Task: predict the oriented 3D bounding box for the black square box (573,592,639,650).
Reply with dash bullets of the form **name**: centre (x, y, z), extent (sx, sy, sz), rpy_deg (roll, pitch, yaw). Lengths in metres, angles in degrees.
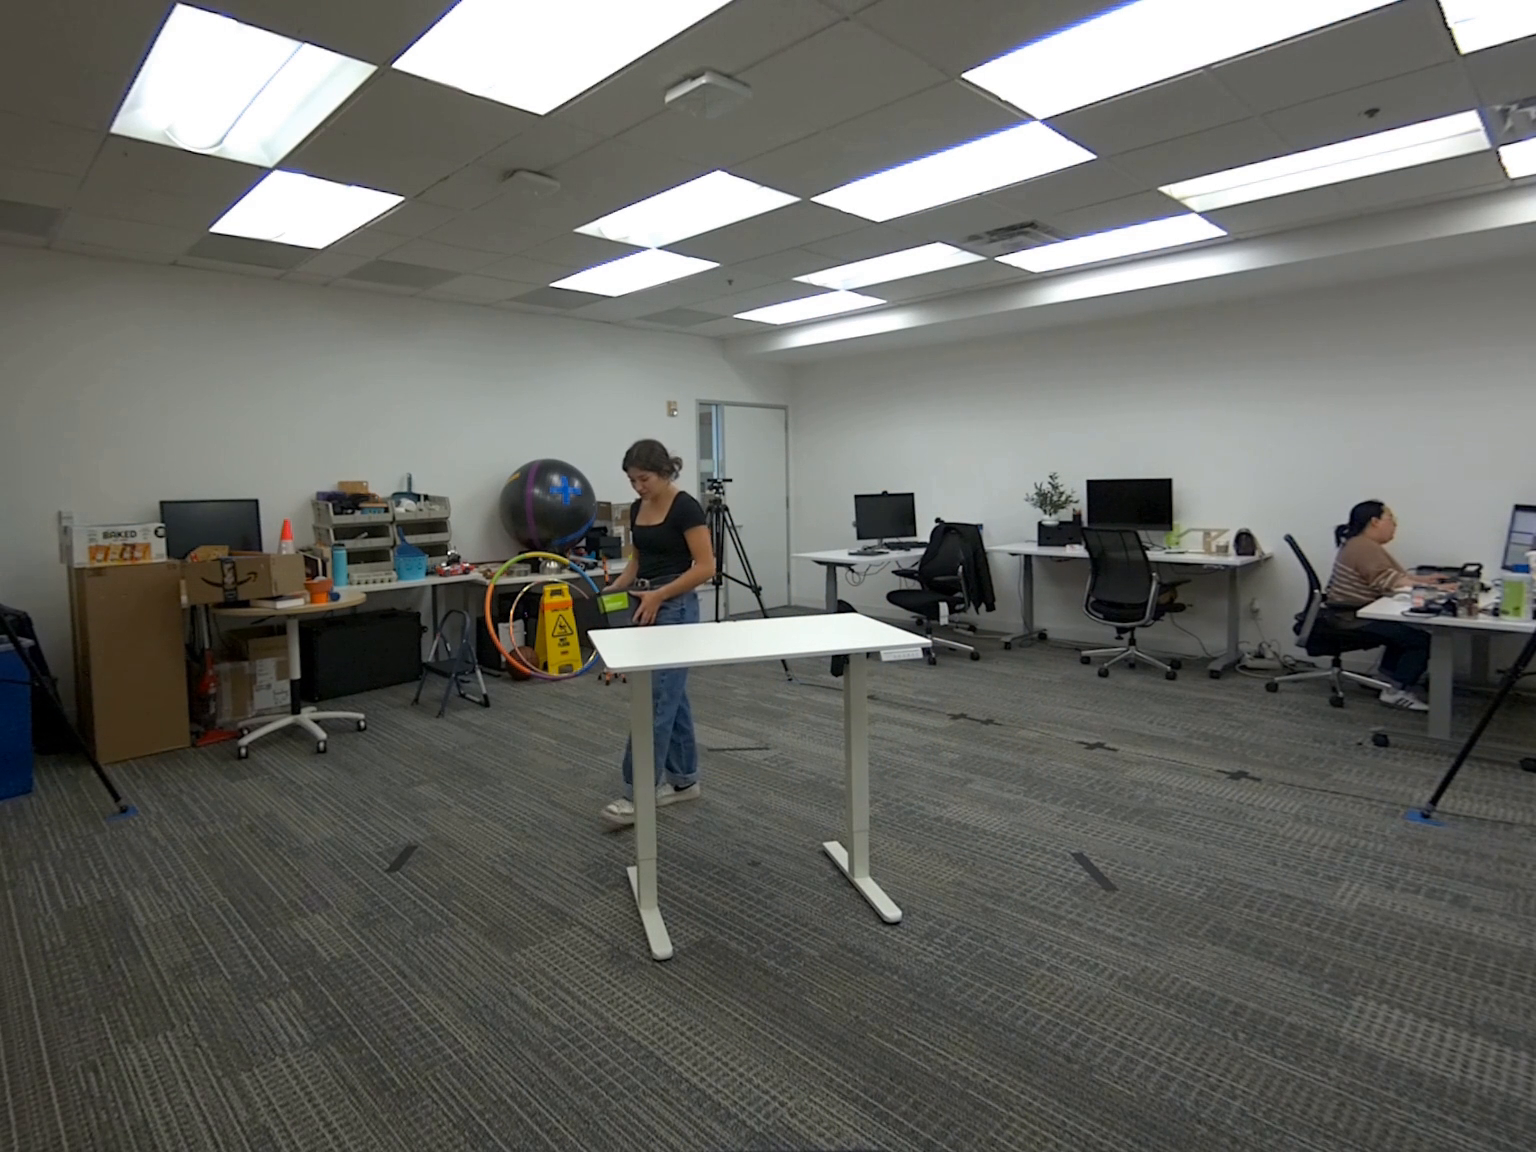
- **black square box**: centre (-0.645, 0.152, 3.515), extent (0.220, 0.158, 0.222), rpy_deg (-23, -11, 41)
